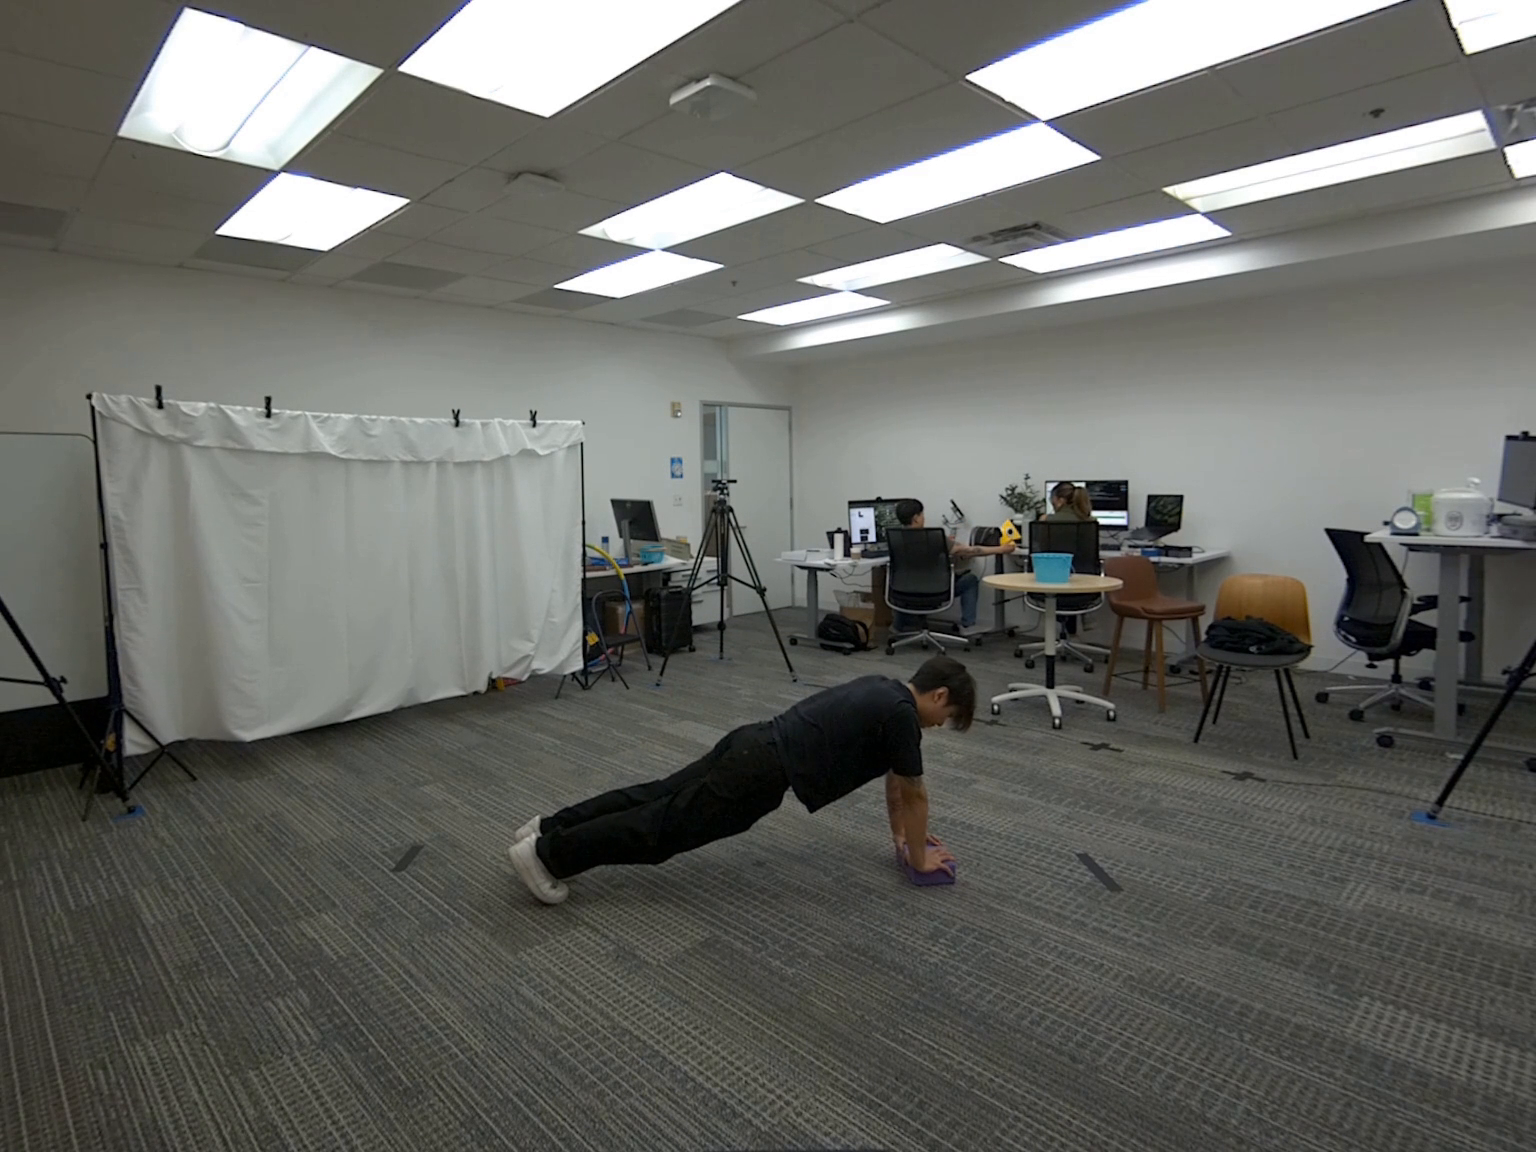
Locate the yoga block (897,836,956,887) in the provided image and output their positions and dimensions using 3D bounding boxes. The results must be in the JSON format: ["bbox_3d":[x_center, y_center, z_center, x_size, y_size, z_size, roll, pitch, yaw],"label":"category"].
[{"bbox_3d":[0.552,1.001,3.023,0.148,0.076,0.231,-1,4,-7],"label":"yoga block"}]
